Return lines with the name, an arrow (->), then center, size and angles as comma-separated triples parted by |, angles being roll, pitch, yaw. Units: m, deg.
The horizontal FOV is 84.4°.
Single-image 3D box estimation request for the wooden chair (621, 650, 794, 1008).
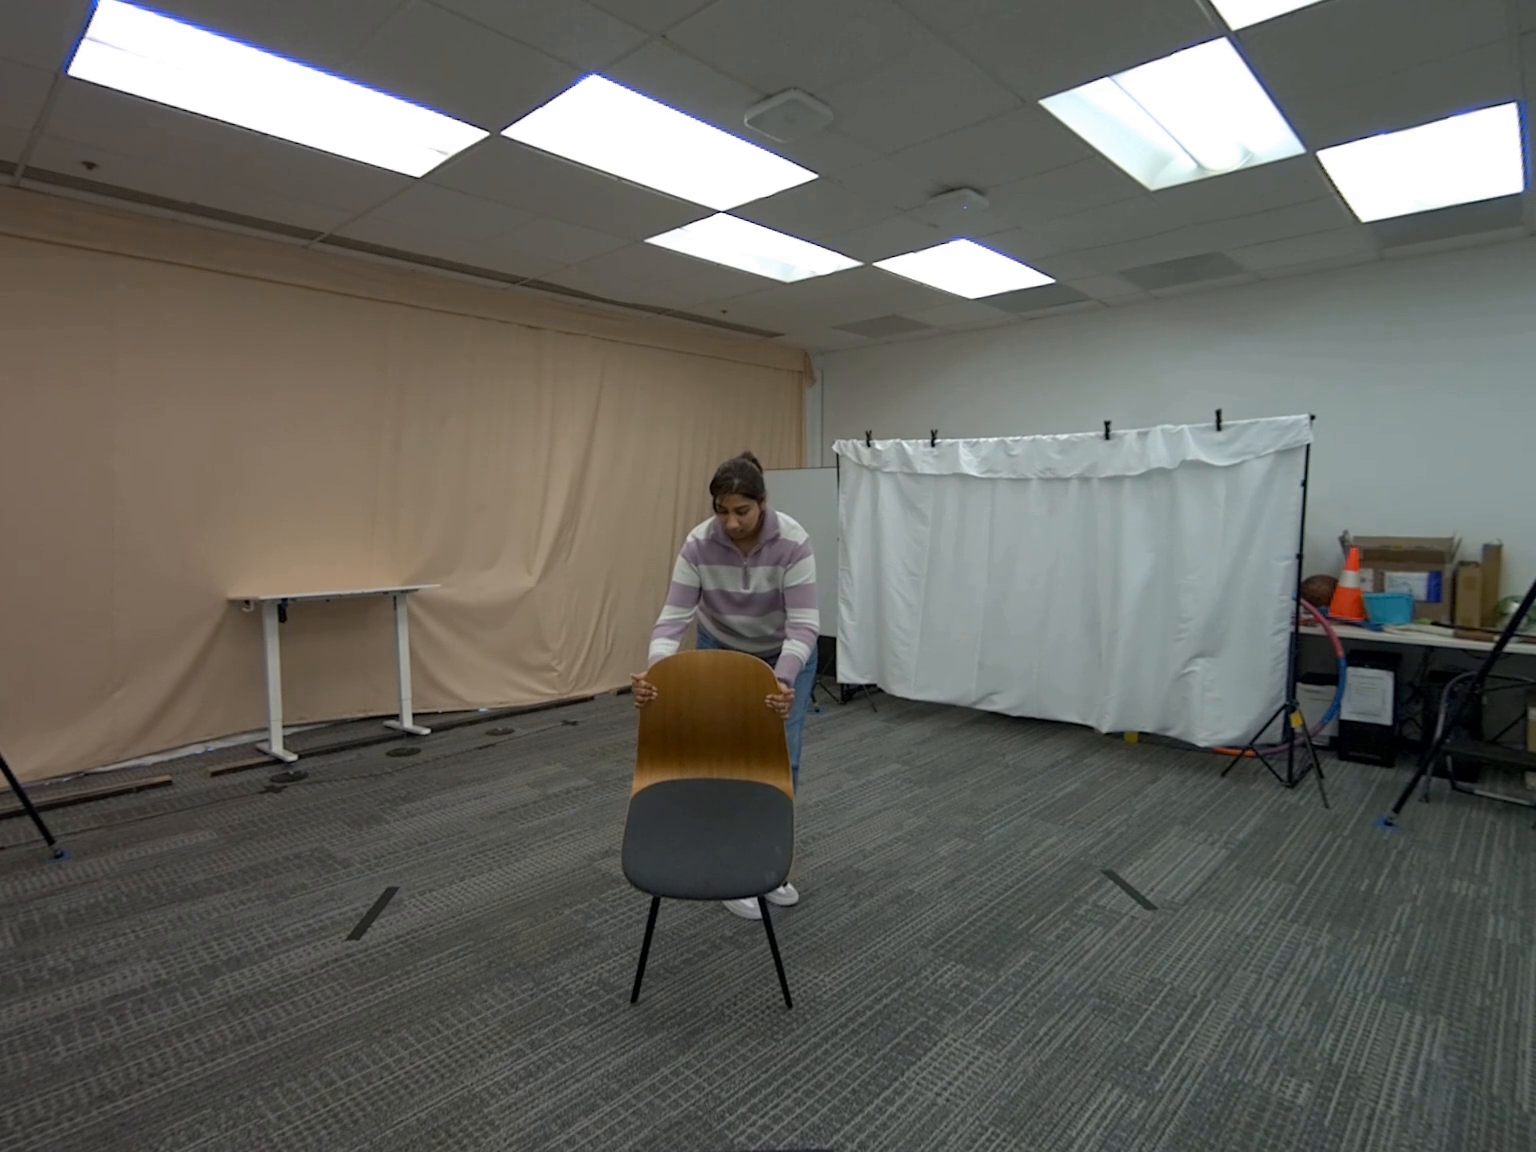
wooden chair -> -0.160, 0.711, 2.366 | 0.479, 0.866, 0.528 | 1, 21, 1
